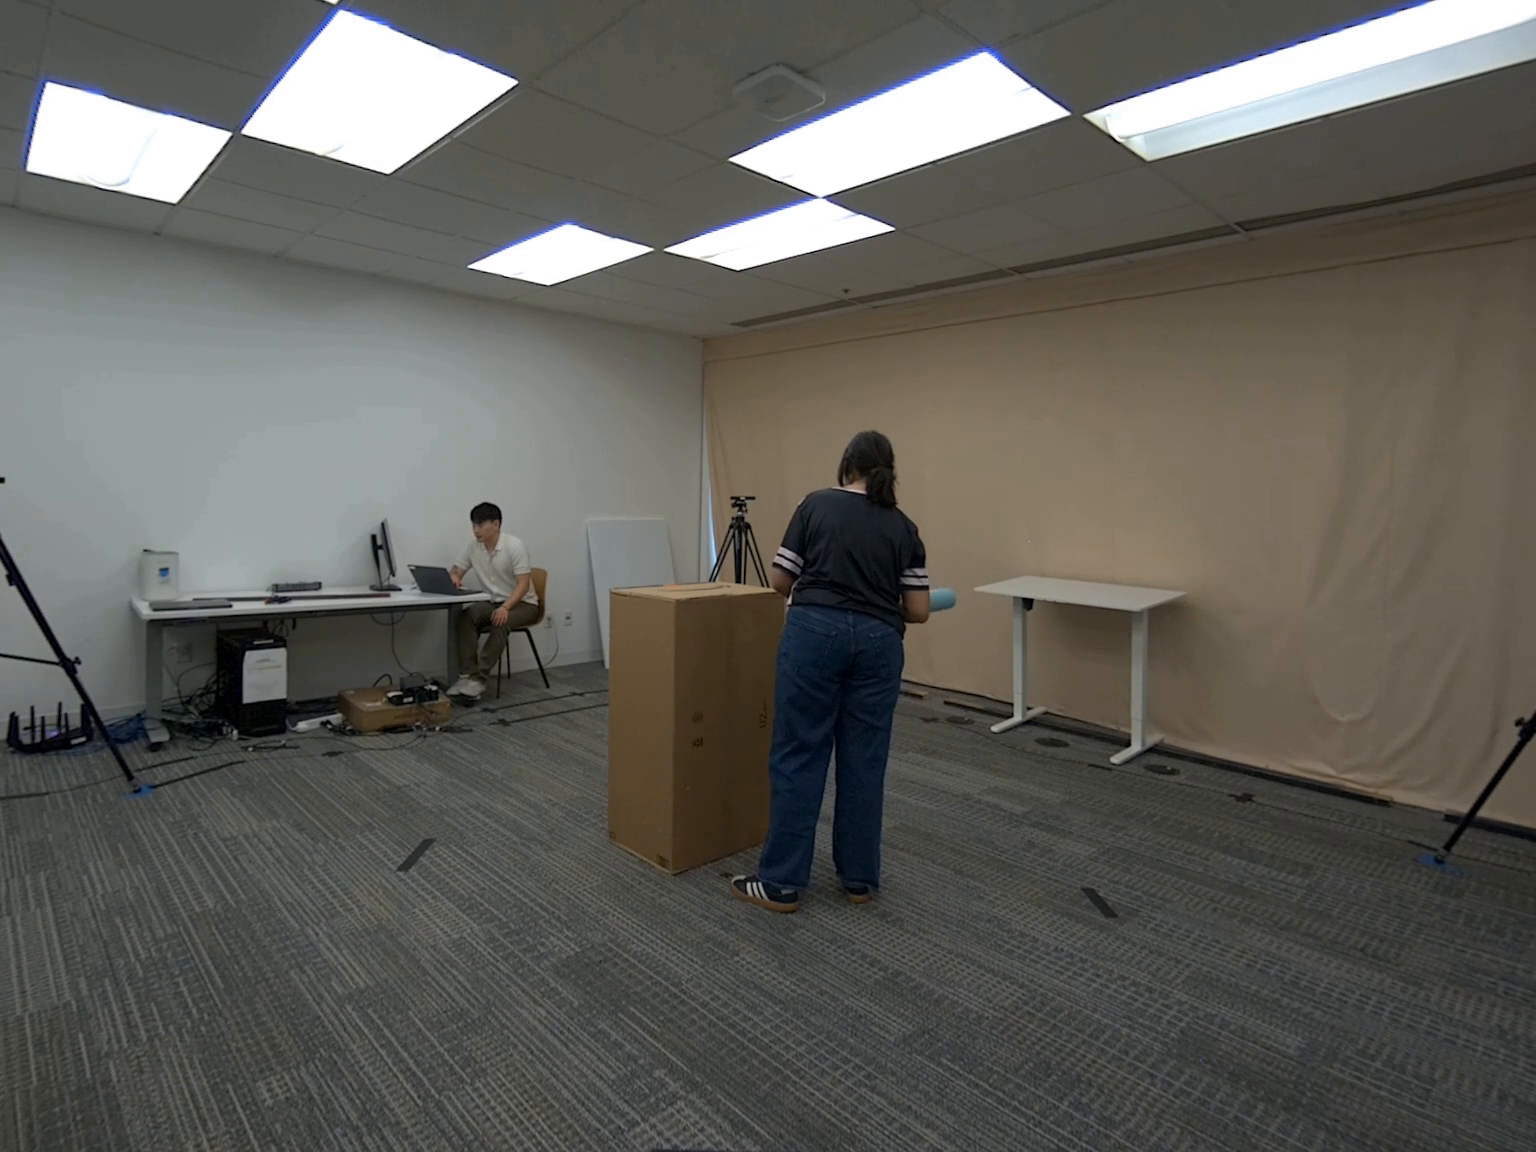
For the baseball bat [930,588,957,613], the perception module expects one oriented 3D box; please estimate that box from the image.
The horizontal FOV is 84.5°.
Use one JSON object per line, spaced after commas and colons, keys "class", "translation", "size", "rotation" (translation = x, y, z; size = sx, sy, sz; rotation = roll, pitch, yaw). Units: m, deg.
{"class": "baseball bat", "translation": [0.495, 0.122, 3.287], "size": [0.534, 0.088, 0.091], "rotation": [-7, 8, -28]}
